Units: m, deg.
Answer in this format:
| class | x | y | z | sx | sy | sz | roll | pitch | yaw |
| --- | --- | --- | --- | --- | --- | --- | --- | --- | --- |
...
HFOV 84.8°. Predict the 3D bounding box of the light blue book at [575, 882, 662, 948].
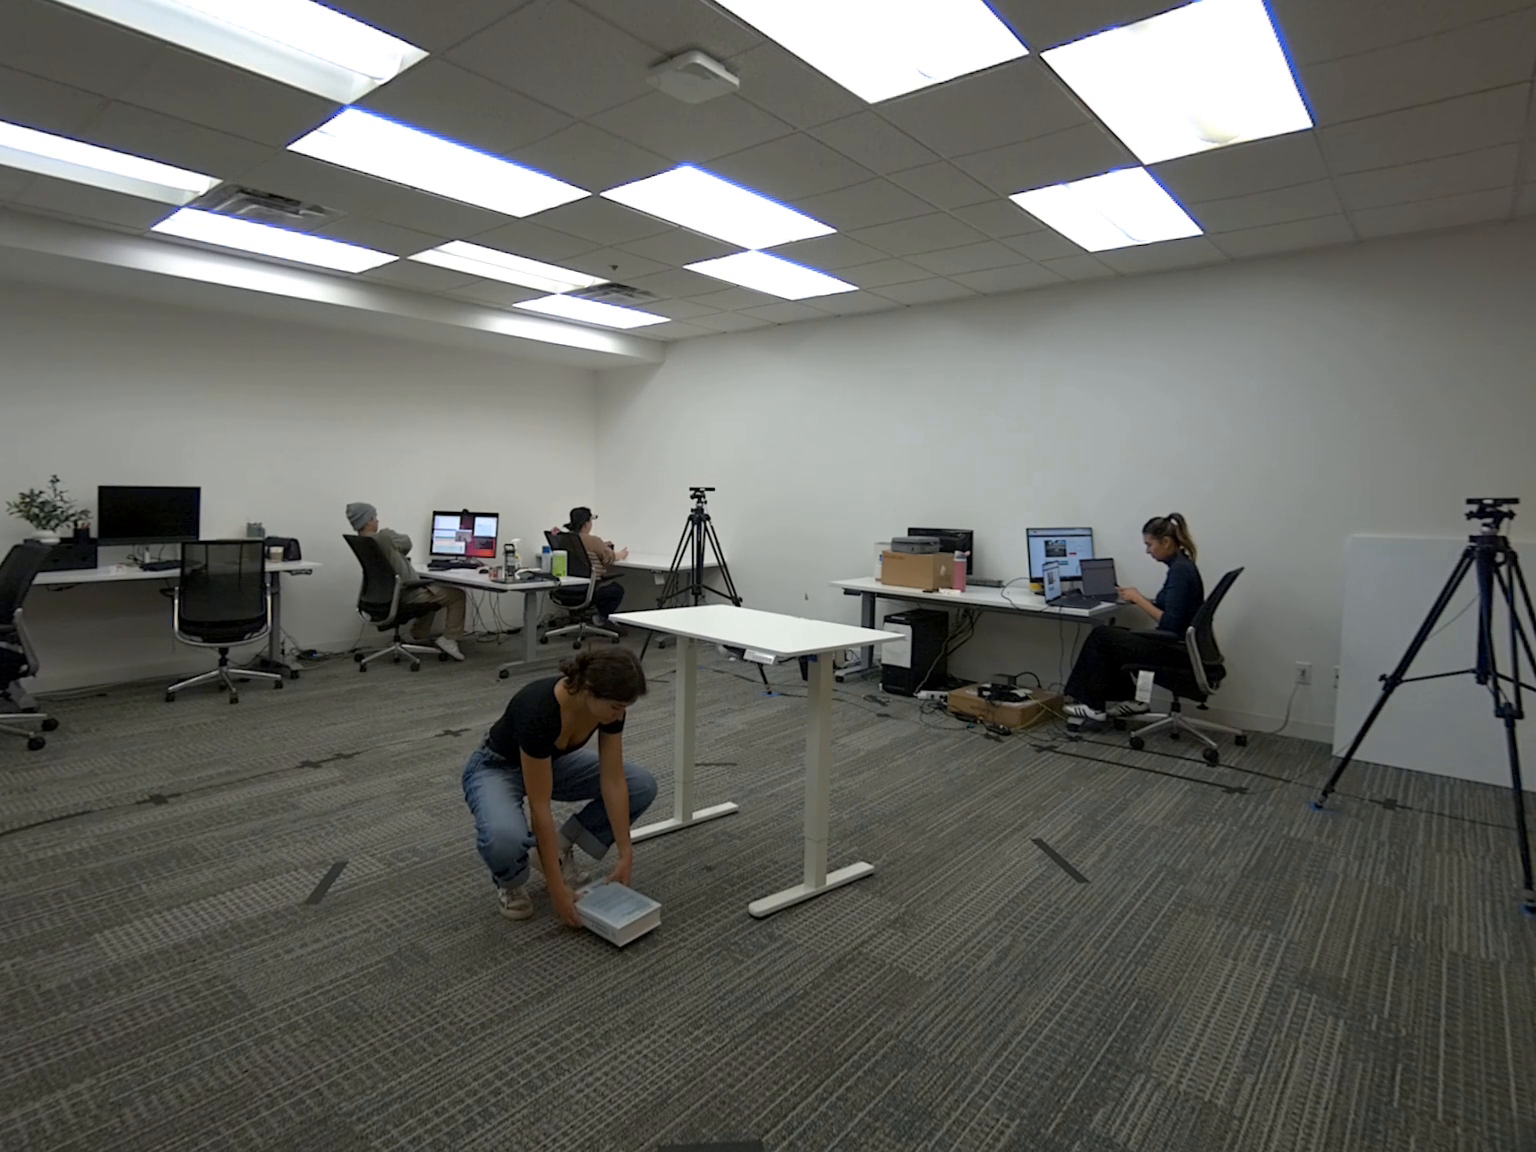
| class | x | y | z | sx | sy | sz | roll | pitch | yaw |
| --- | --- | --- | --- | --- | --- | --- | --- | --- | --- |
| light blue book | -0.503 | 1.054 | 2.650 | 0.270 | 0.059 | 0.186 | 7 | 9 | 37 |
